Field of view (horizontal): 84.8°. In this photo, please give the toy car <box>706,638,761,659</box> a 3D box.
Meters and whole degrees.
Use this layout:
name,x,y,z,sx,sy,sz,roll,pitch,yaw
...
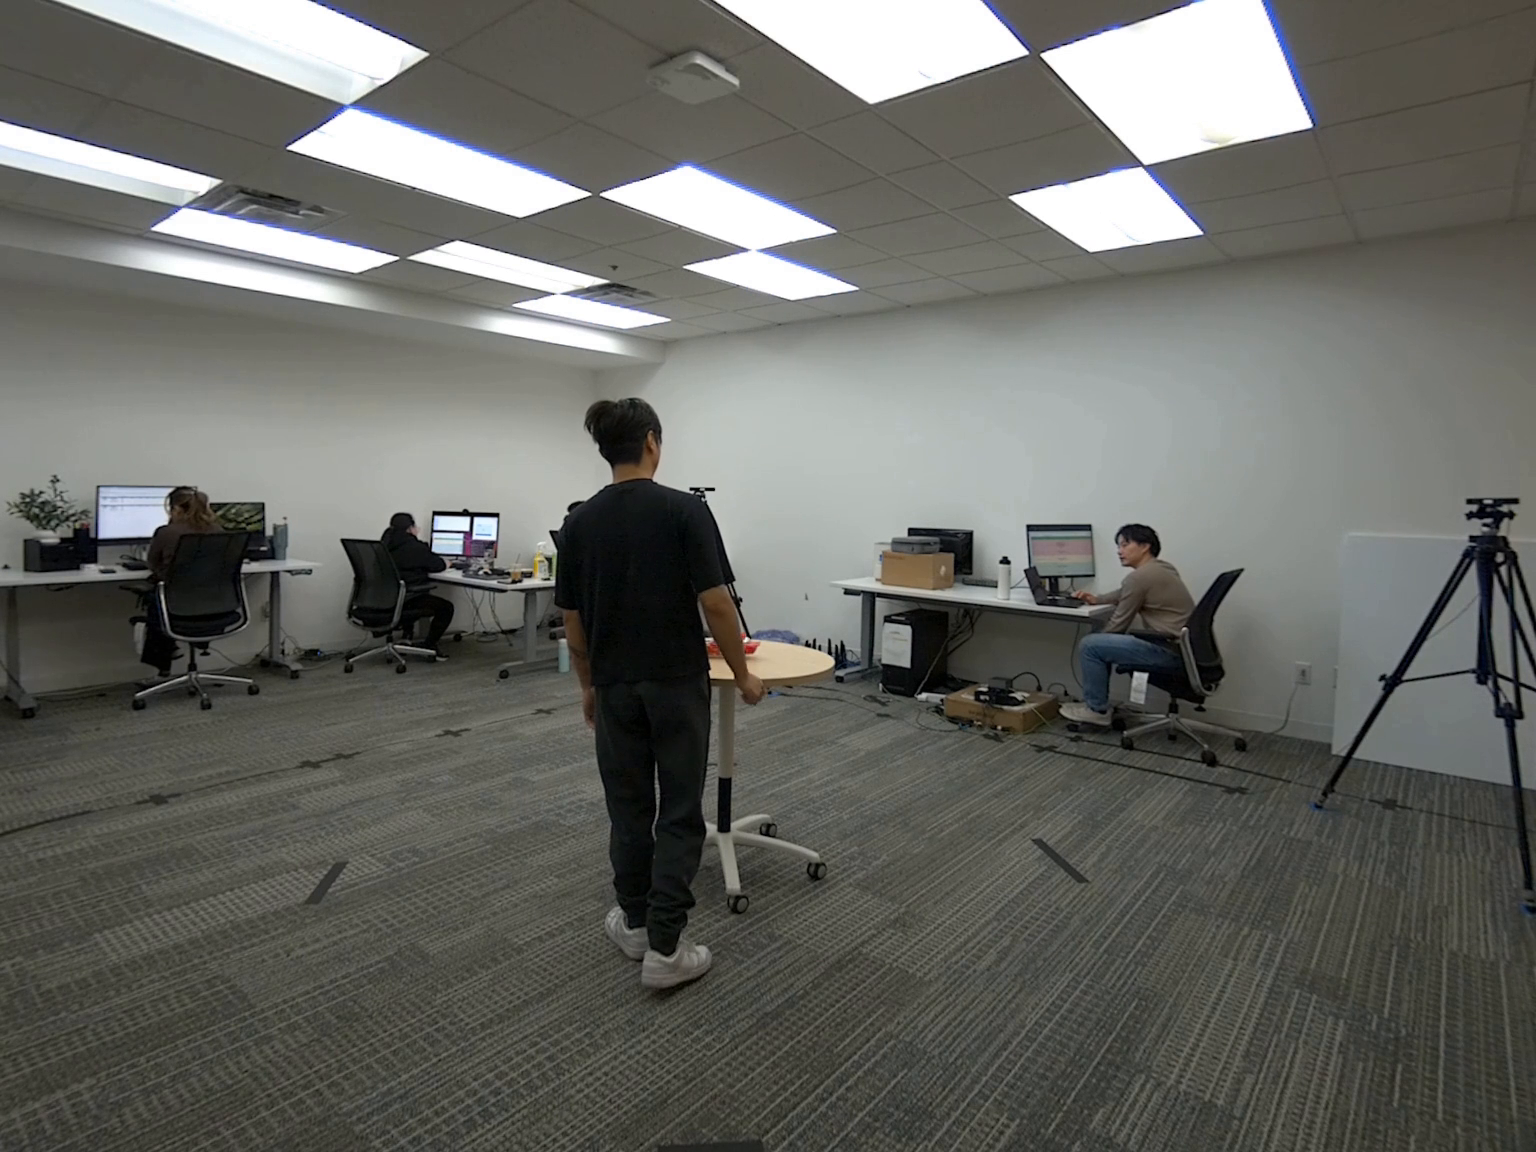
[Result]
name,x,y,z,sx,sy,sz,roll,pitch,yaw
toy car,-0.160,0.257,3.060,0.256,0.083,0.130,-9,3,4
